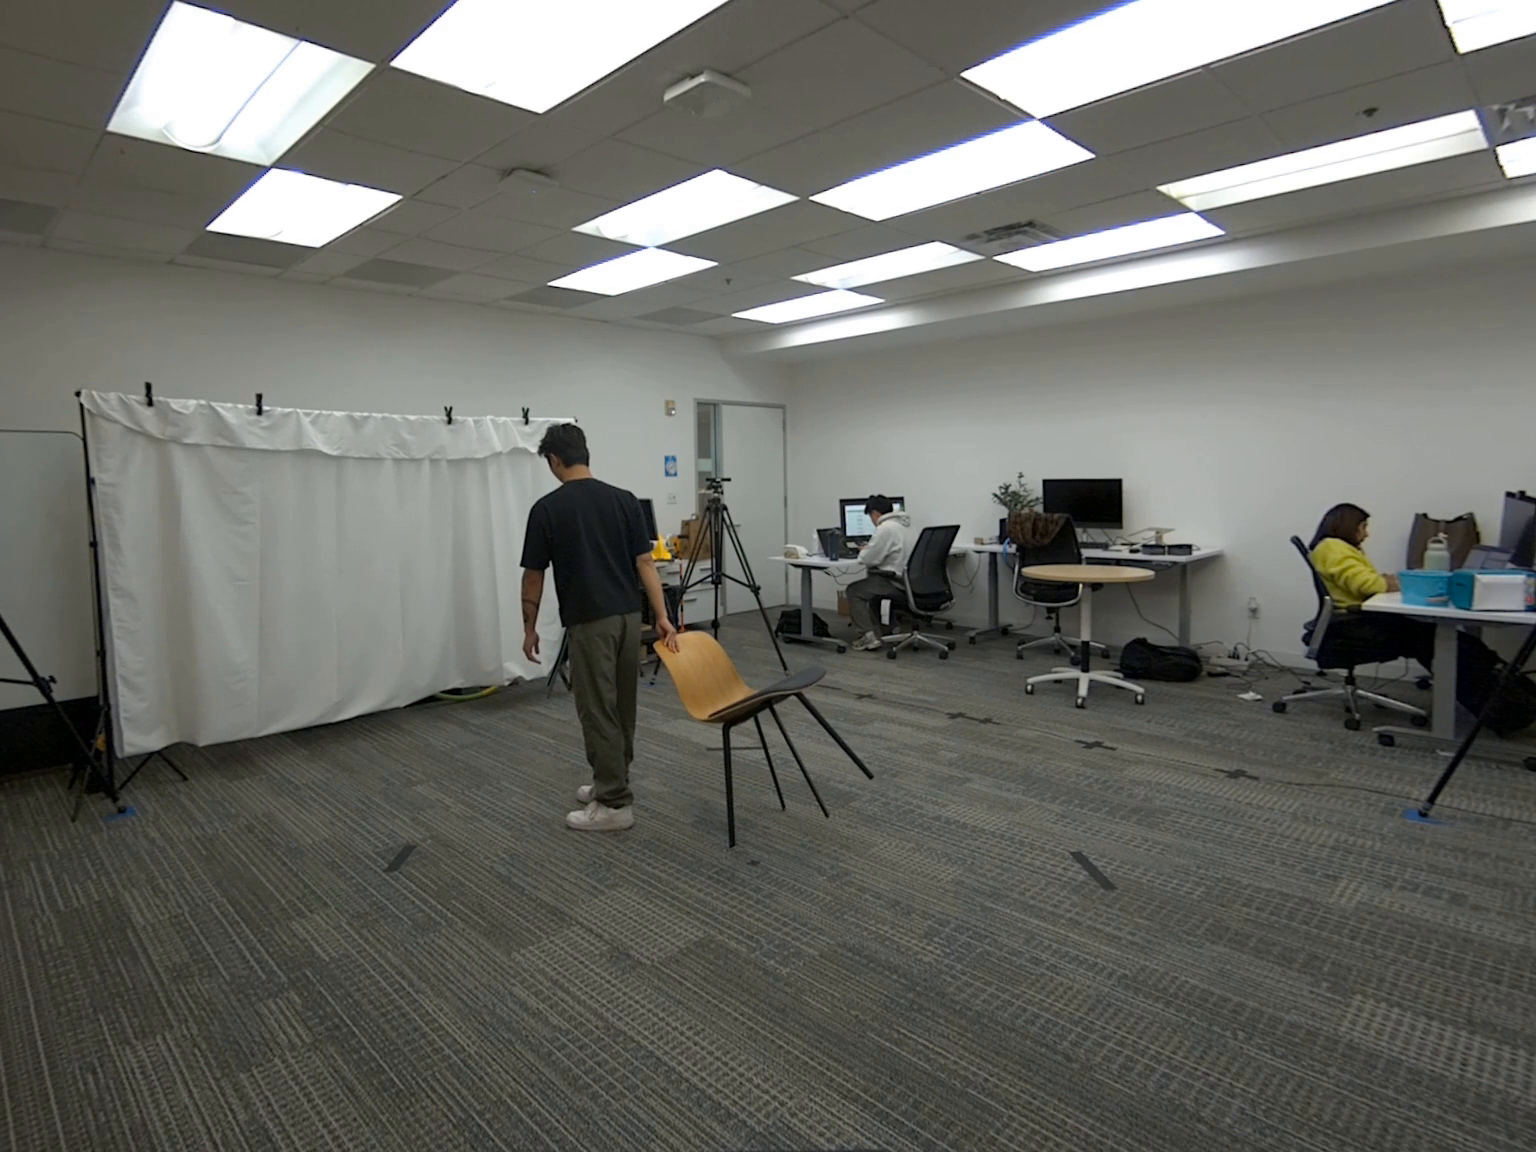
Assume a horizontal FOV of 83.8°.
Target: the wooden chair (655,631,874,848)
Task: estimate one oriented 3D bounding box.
[{"bbox_3d":[-0.027,0.521,3.373,0.527,0.891,0.467,-33,-13,28],"label":"wooden chair"}]
